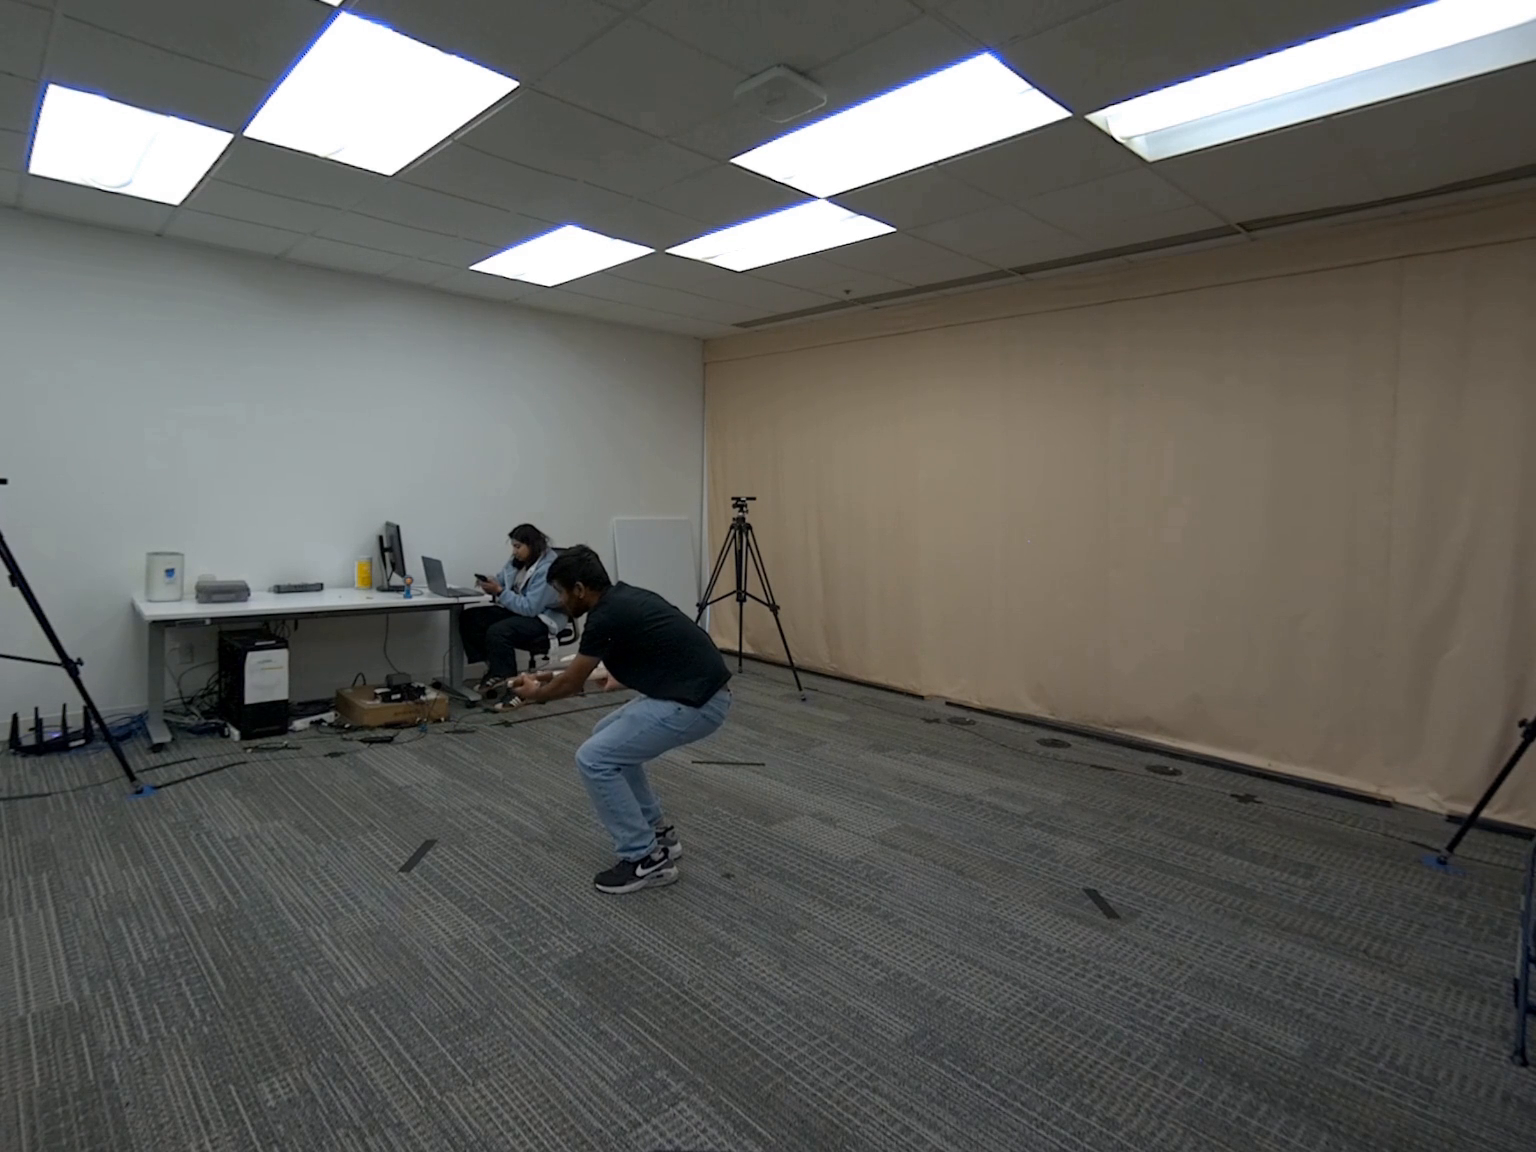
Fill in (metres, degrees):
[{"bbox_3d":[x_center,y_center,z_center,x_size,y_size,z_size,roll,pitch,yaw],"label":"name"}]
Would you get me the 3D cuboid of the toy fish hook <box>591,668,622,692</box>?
[{"bbox_3d":[-0.901,0.406,3.539,0.495,0.048,0.231,-3,17,-39],"label":"toy fish hook"}]
